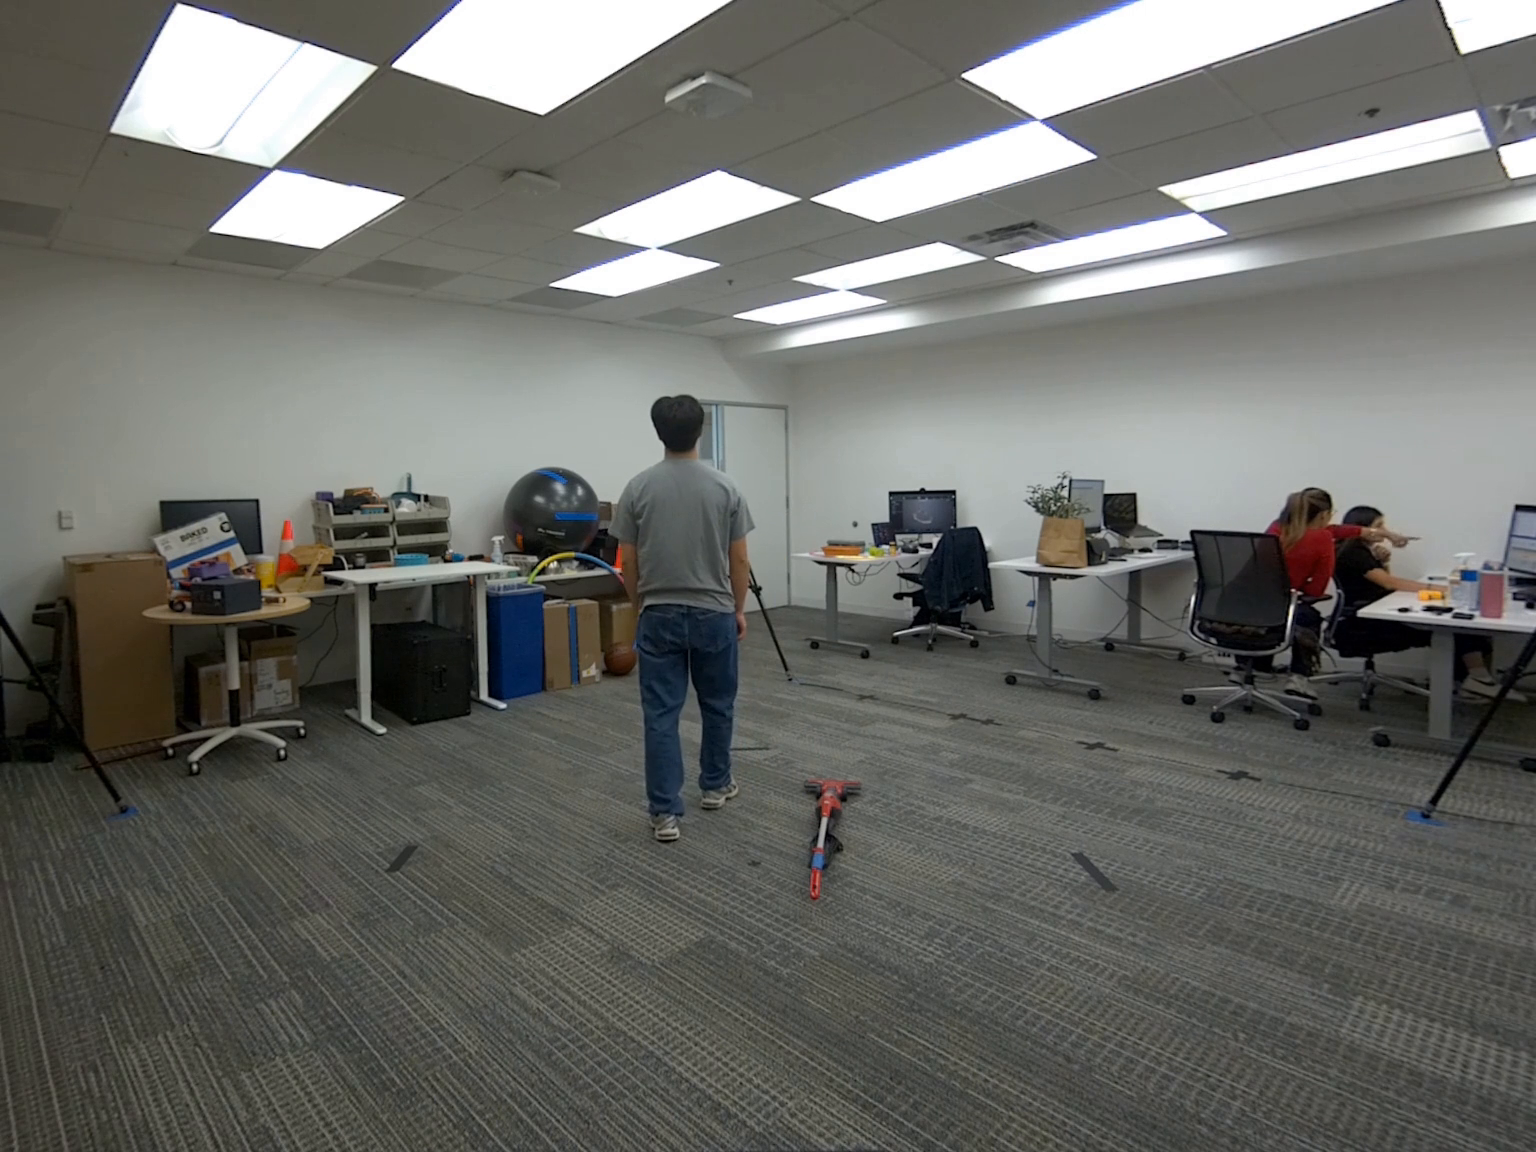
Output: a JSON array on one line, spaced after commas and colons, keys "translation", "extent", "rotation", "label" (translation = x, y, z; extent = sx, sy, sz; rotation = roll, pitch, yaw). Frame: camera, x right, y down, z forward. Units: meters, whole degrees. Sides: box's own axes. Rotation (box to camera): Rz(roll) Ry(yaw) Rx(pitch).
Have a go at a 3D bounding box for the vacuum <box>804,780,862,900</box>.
[{"translation": [0.208, 0.967, 3.214], "extent": [0.255, 0.143, 1.043], "rotation": [7, 6, 7], "label": "vacuum"}]
